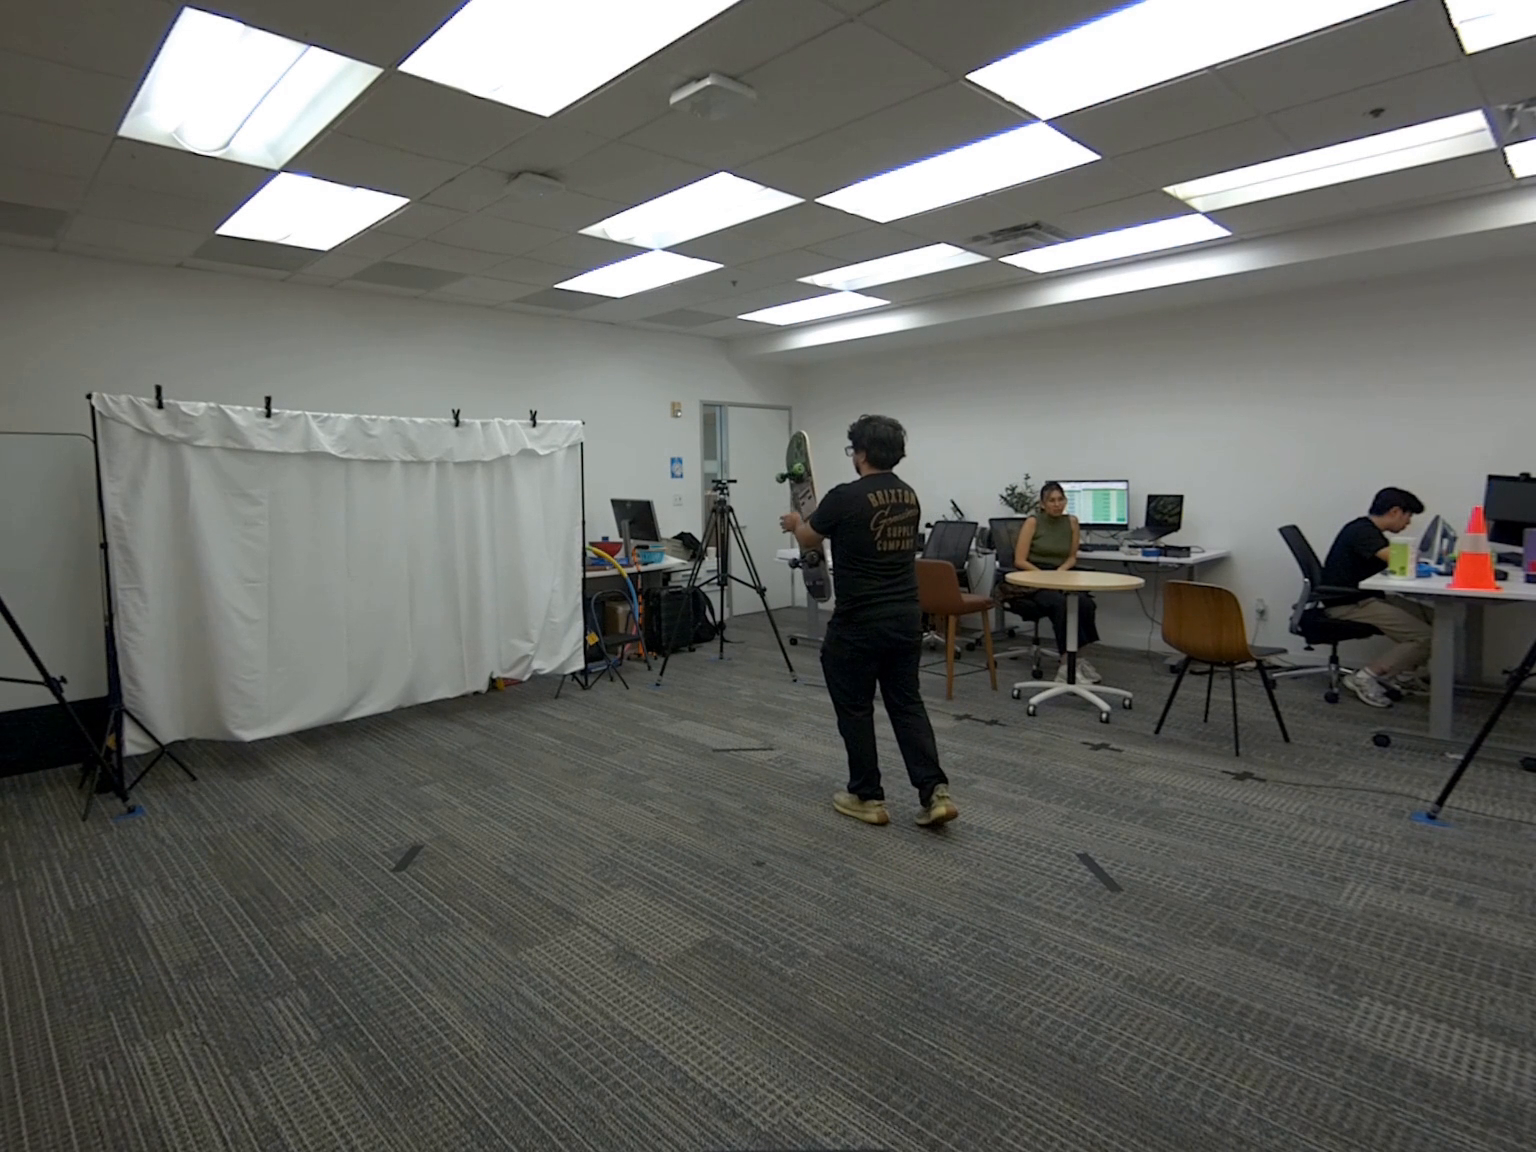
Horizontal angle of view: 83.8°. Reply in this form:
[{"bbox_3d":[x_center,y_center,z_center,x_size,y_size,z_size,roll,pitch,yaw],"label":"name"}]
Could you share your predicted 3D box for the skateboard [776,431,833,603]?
[{"bbox_3d":[0.152,-0.263,3.830,0.108,0.792,0.196,-3,-9,-31],"label":"skateboard"}]
